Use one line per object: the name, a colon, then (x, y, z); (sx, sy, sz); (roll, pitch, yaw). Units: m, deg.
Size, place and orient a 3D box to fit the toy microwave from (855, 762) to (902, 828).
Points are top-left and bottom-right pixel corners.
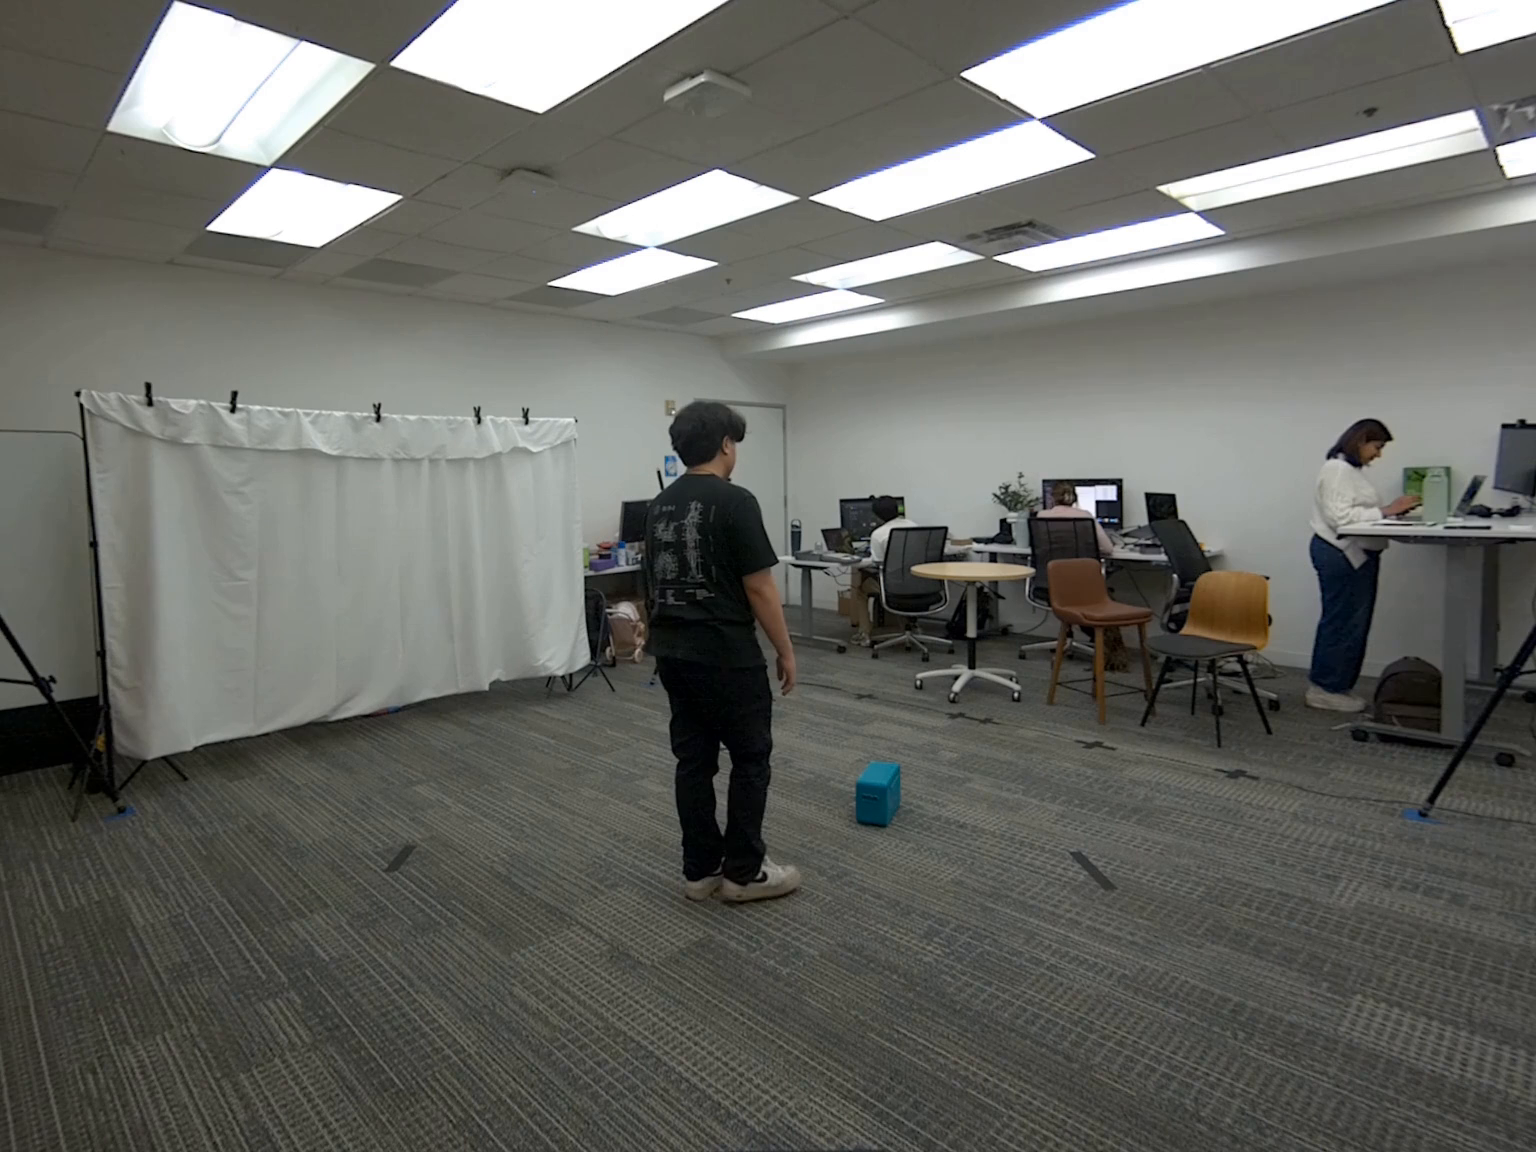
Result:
toy microwave: (0.451, 0.894, 3.531); (0.155, 0.183, 0.281); (1, 5, 21)
